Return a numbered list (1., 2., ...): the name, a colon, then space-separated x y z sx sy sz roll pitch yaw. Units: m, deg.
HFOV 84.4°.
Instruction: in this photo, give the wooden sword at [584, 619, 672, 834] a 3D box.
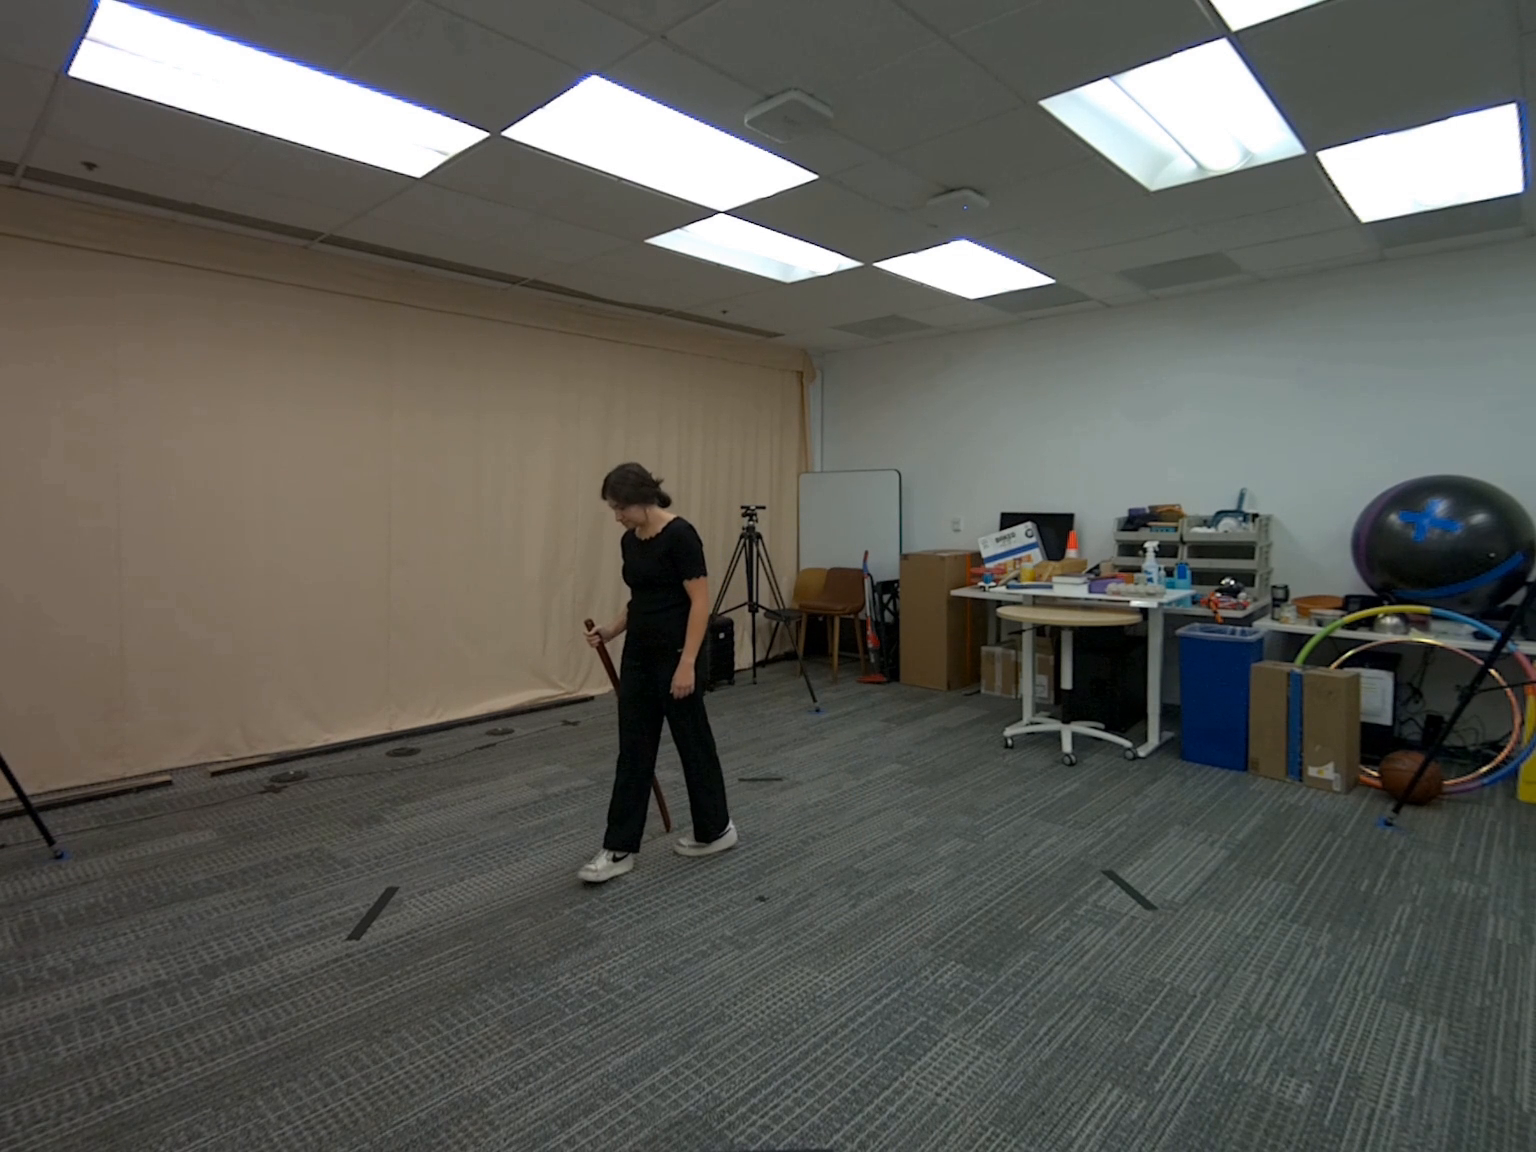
1. wooden sword: -0.559 0.649 3.466 0.053 1.008 0.024 -7 21 33
